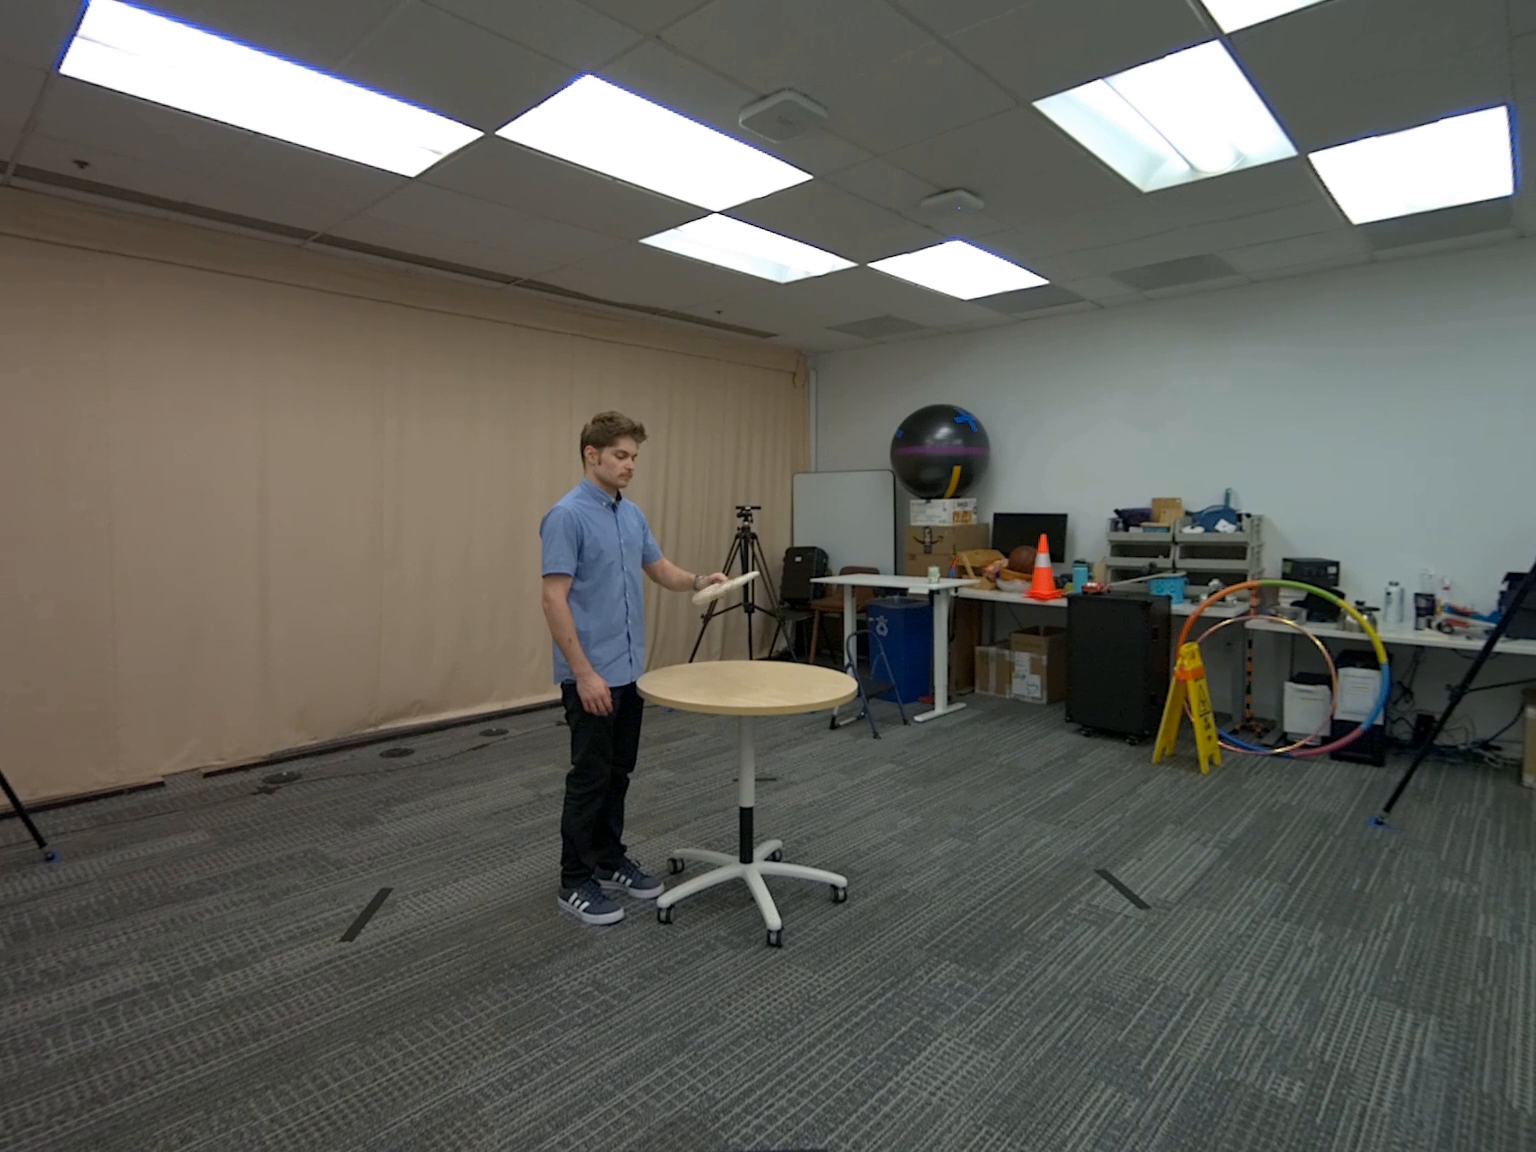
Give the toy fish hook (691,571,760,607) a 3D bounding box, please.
[{"bbox_3d":[-0.133,0.023,2.768,0.225,0.048,0.507,-19,4,1],"label":"toy fish hook"}]
